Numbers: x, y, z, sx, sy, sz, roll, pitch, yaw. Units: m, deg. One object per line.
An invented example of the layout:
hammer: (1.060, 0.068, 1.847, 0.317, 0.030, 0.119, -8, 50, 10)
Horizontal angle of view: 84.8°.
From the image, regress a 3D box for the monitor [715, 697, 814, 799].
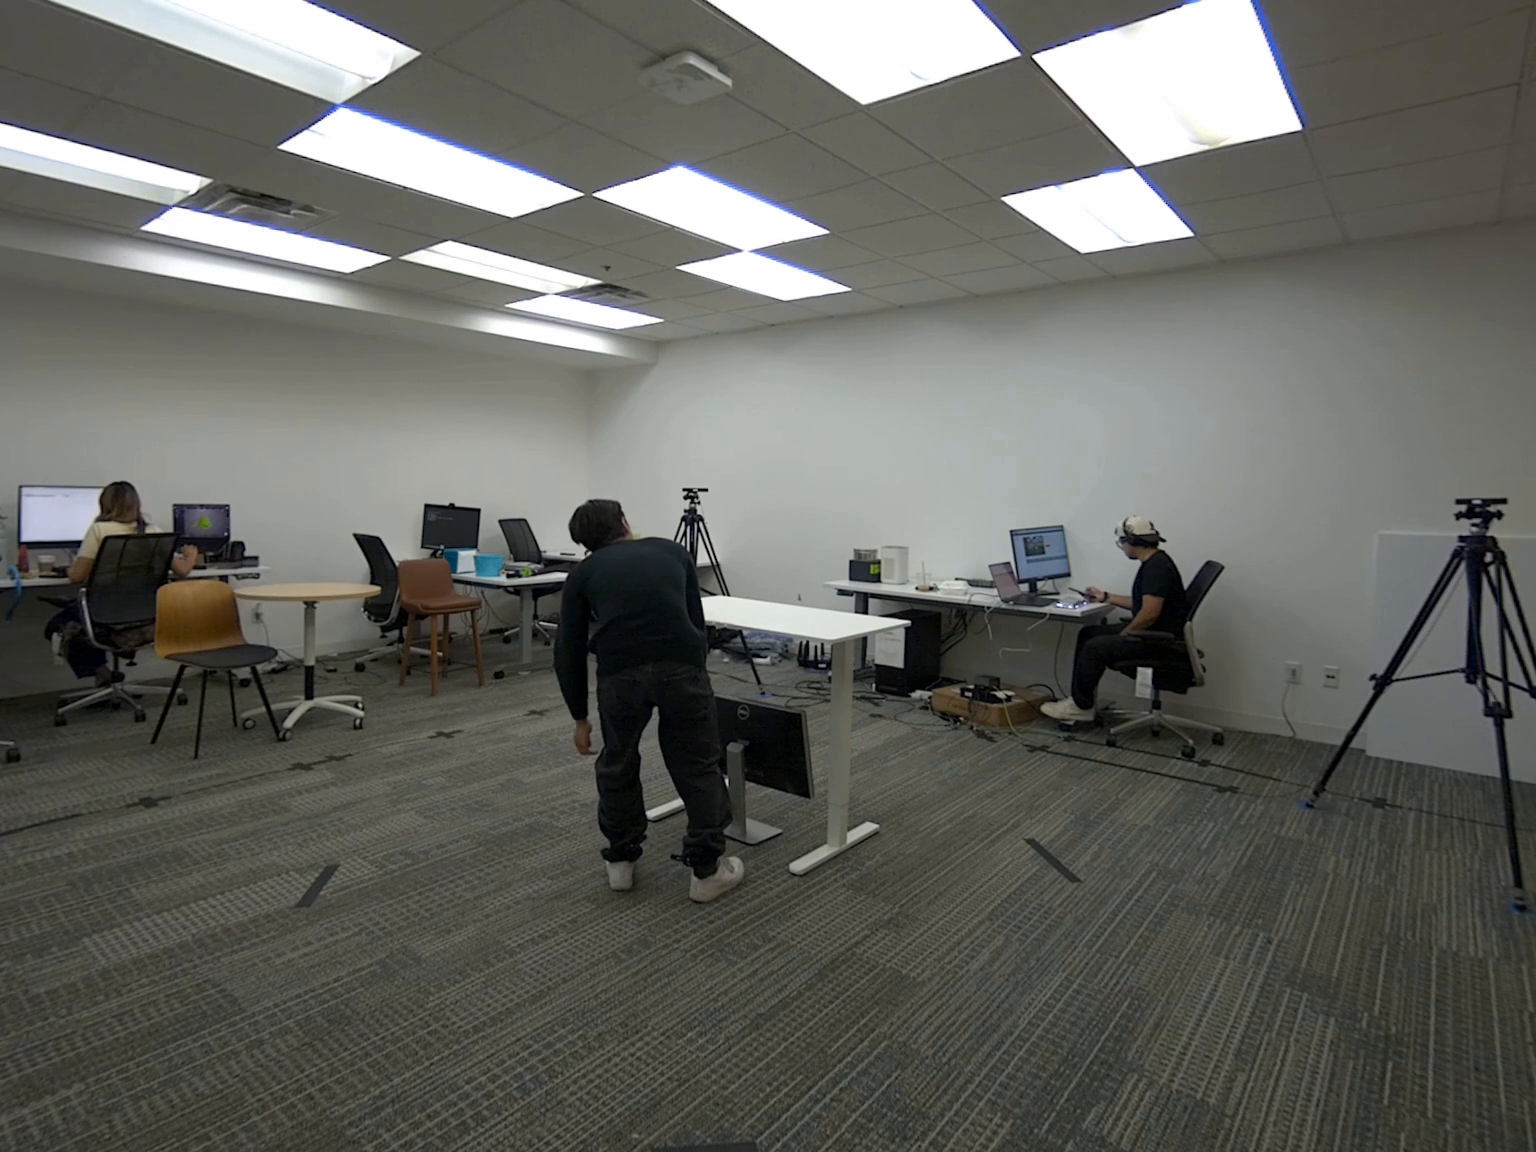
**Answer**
monitor: (-0.096, 0.761, 3.457, 0.548, 0.517, 0.168, 4, -2, 39)
